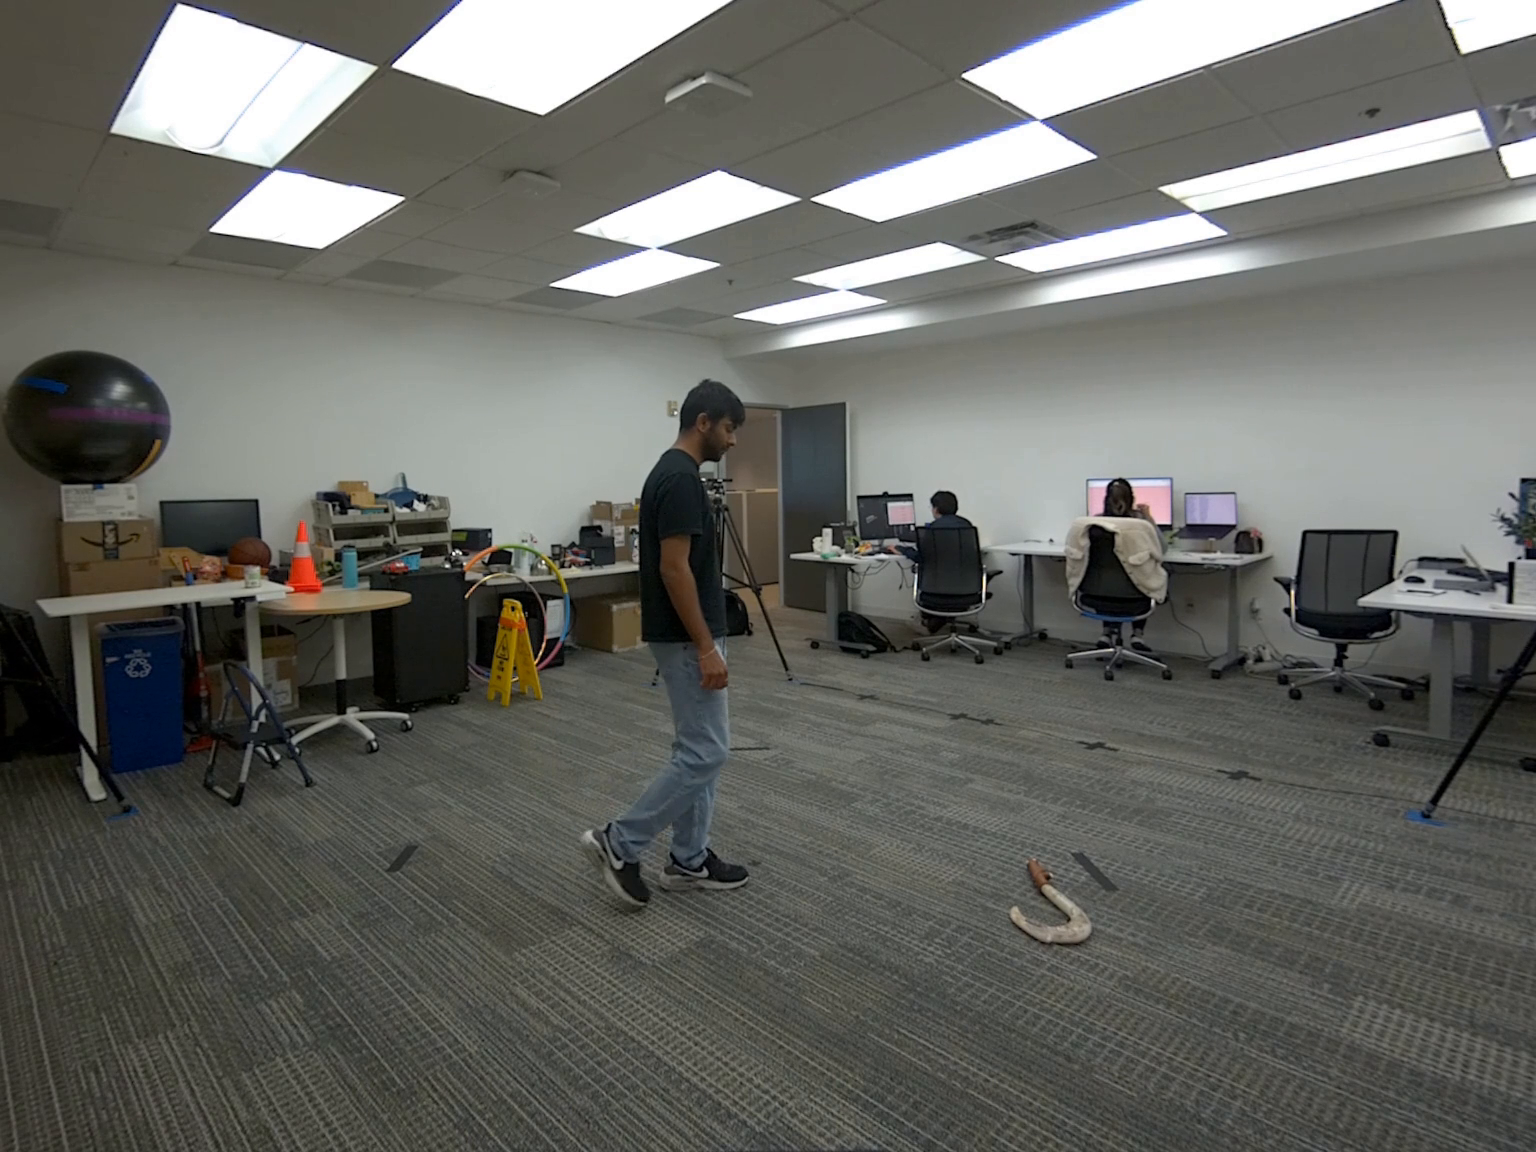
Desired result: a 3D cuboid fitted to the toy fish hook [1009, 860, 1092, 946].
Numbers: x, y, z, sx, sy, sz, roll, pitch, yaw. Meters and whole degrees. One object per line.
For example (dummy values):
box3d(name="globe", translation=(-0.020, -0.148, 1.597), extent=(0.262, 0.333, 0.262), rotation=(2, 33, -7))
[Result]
box3d(name="toy fish hook", translation=(0.869, 1.035, 2.772), extent=(0.225, 0.048, 0.507), rotation=(0, 6, 1))
